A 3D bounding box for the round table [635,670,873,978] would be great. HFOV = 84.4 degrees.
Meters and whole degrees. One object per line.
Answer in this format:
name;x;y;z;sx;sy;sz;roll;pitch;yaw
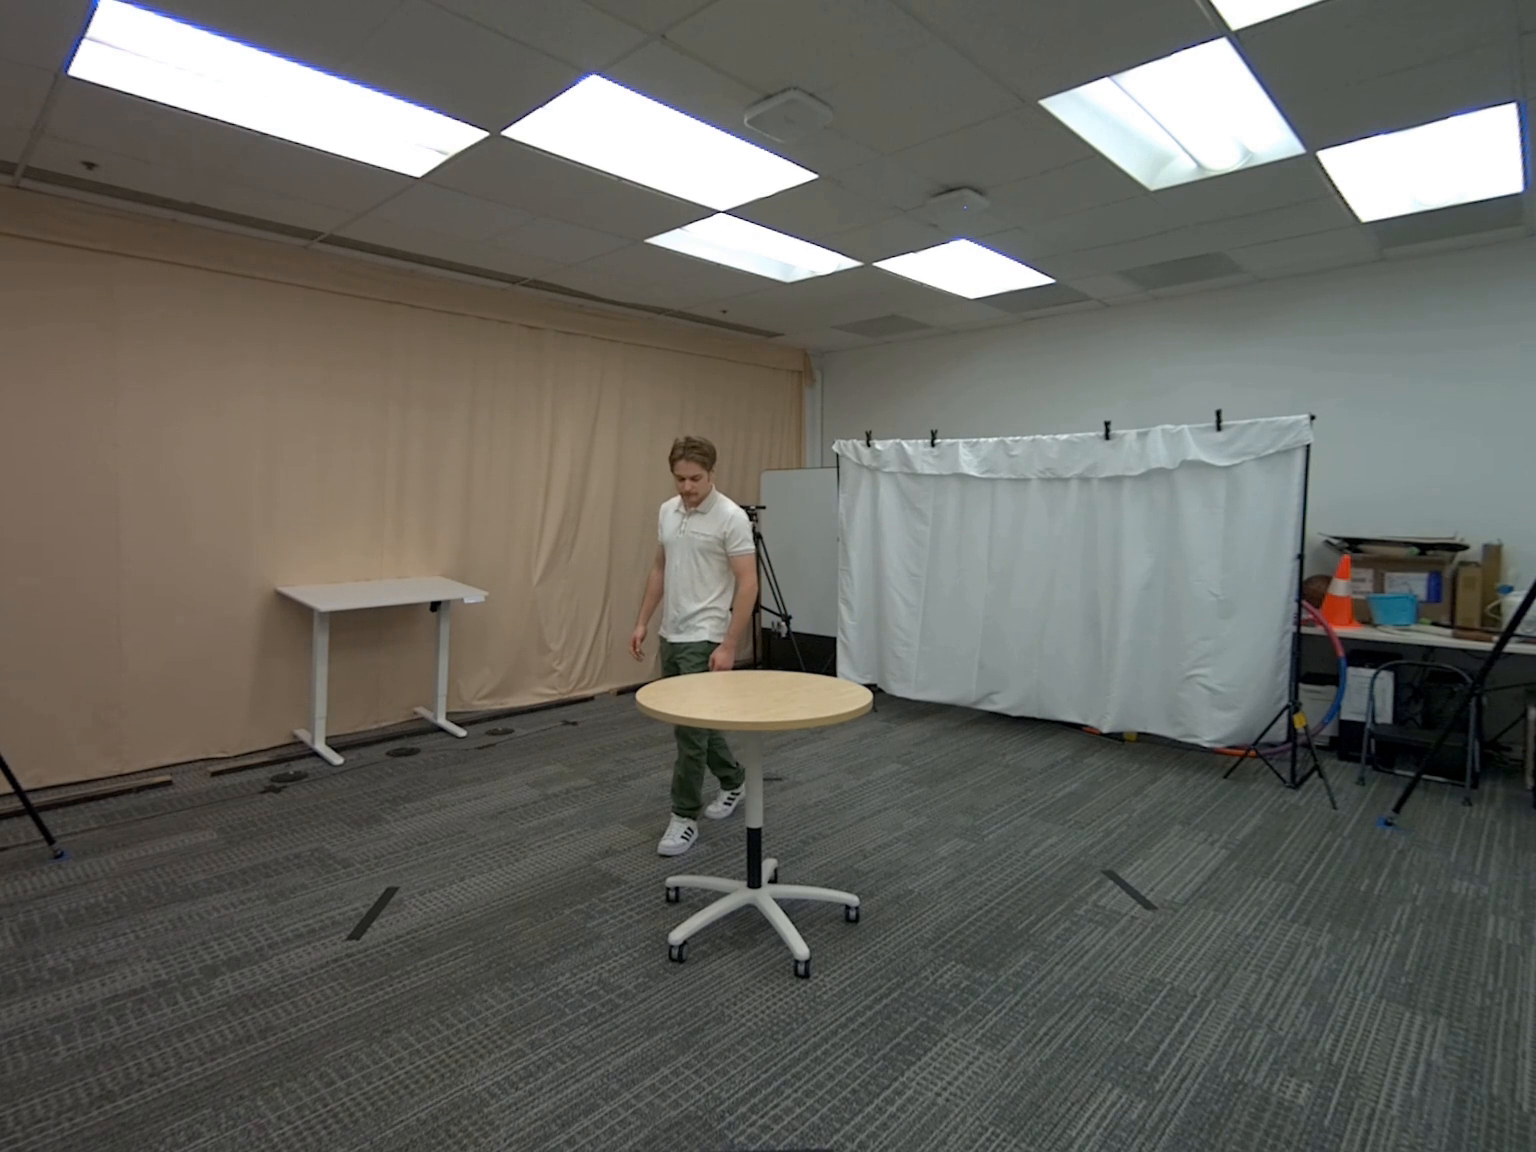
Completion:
round table;-0.038;0.774;2.762;0.763;0.792;0.766;-1;3;-2
